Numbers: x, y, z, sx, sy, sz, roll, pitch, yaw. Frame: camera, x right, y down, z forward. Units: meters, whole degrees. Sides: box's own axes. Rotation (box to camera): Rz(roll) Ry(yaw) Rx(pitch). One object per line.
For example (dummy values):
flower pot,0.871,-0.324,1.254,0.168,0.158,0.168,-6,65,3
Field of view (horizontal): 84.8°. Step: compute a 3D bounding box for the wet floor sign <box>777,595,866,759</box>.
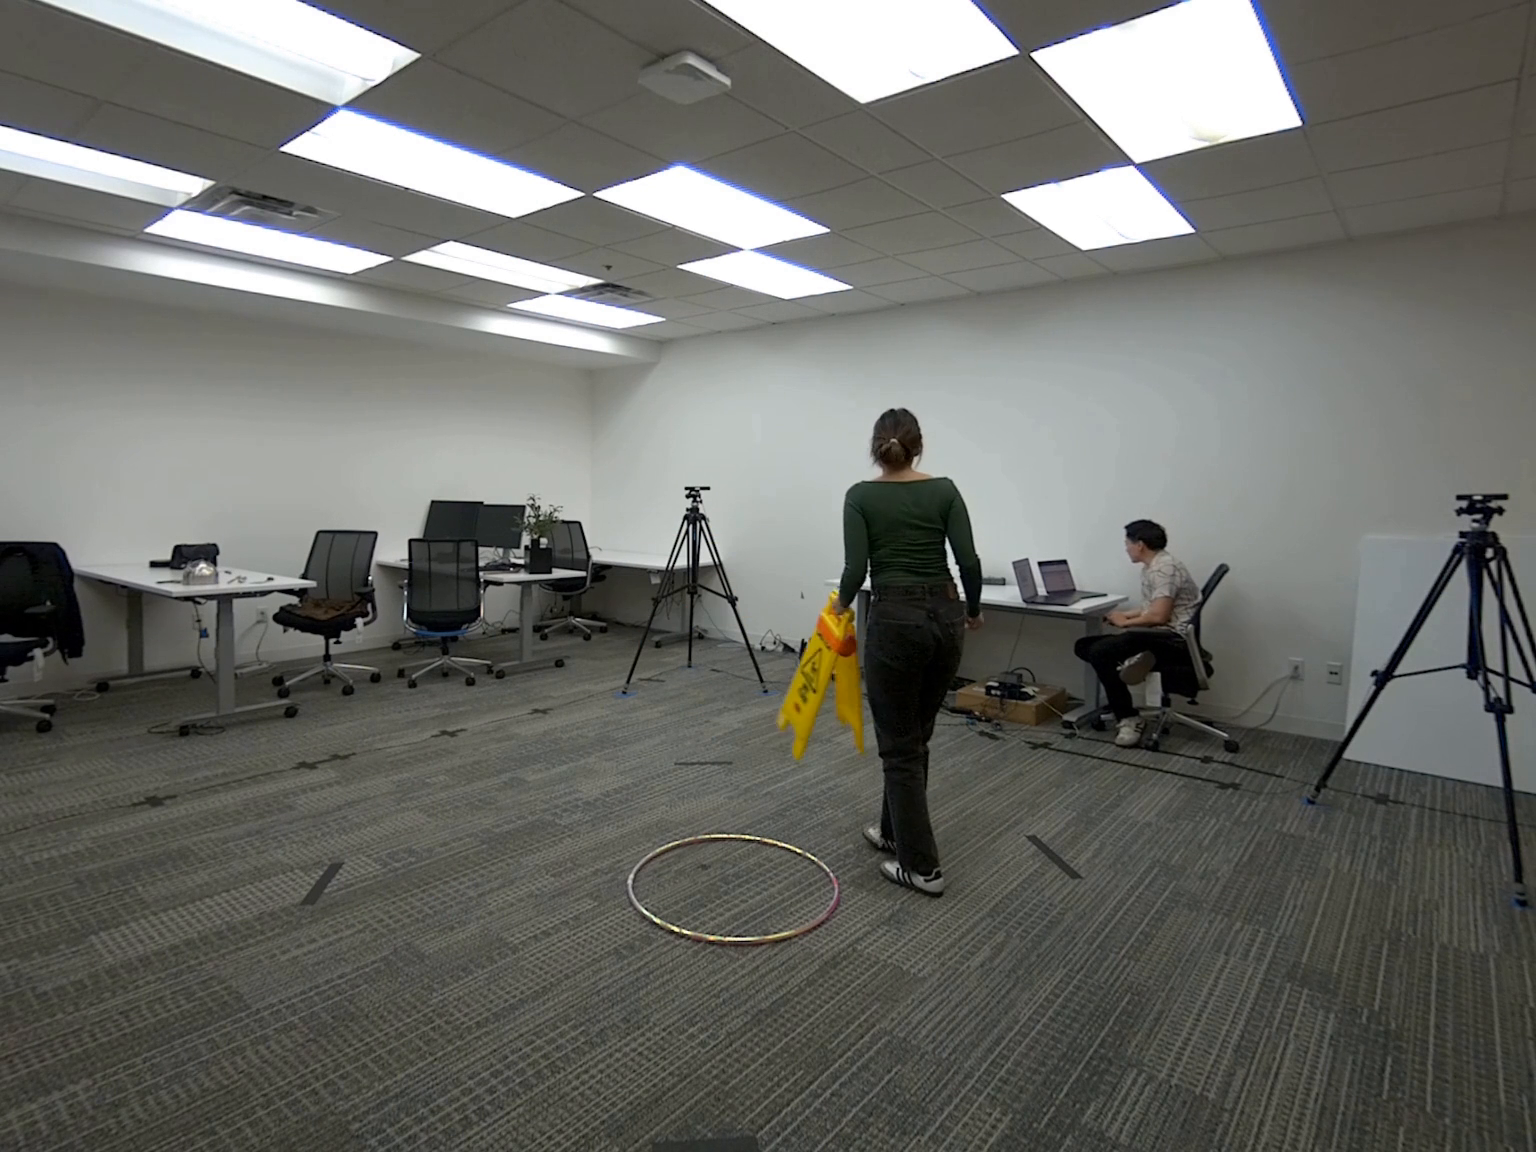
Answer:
wet floor sign,0.244,0.345,3.371,0.285,0.635,0.292,0,23,-16
